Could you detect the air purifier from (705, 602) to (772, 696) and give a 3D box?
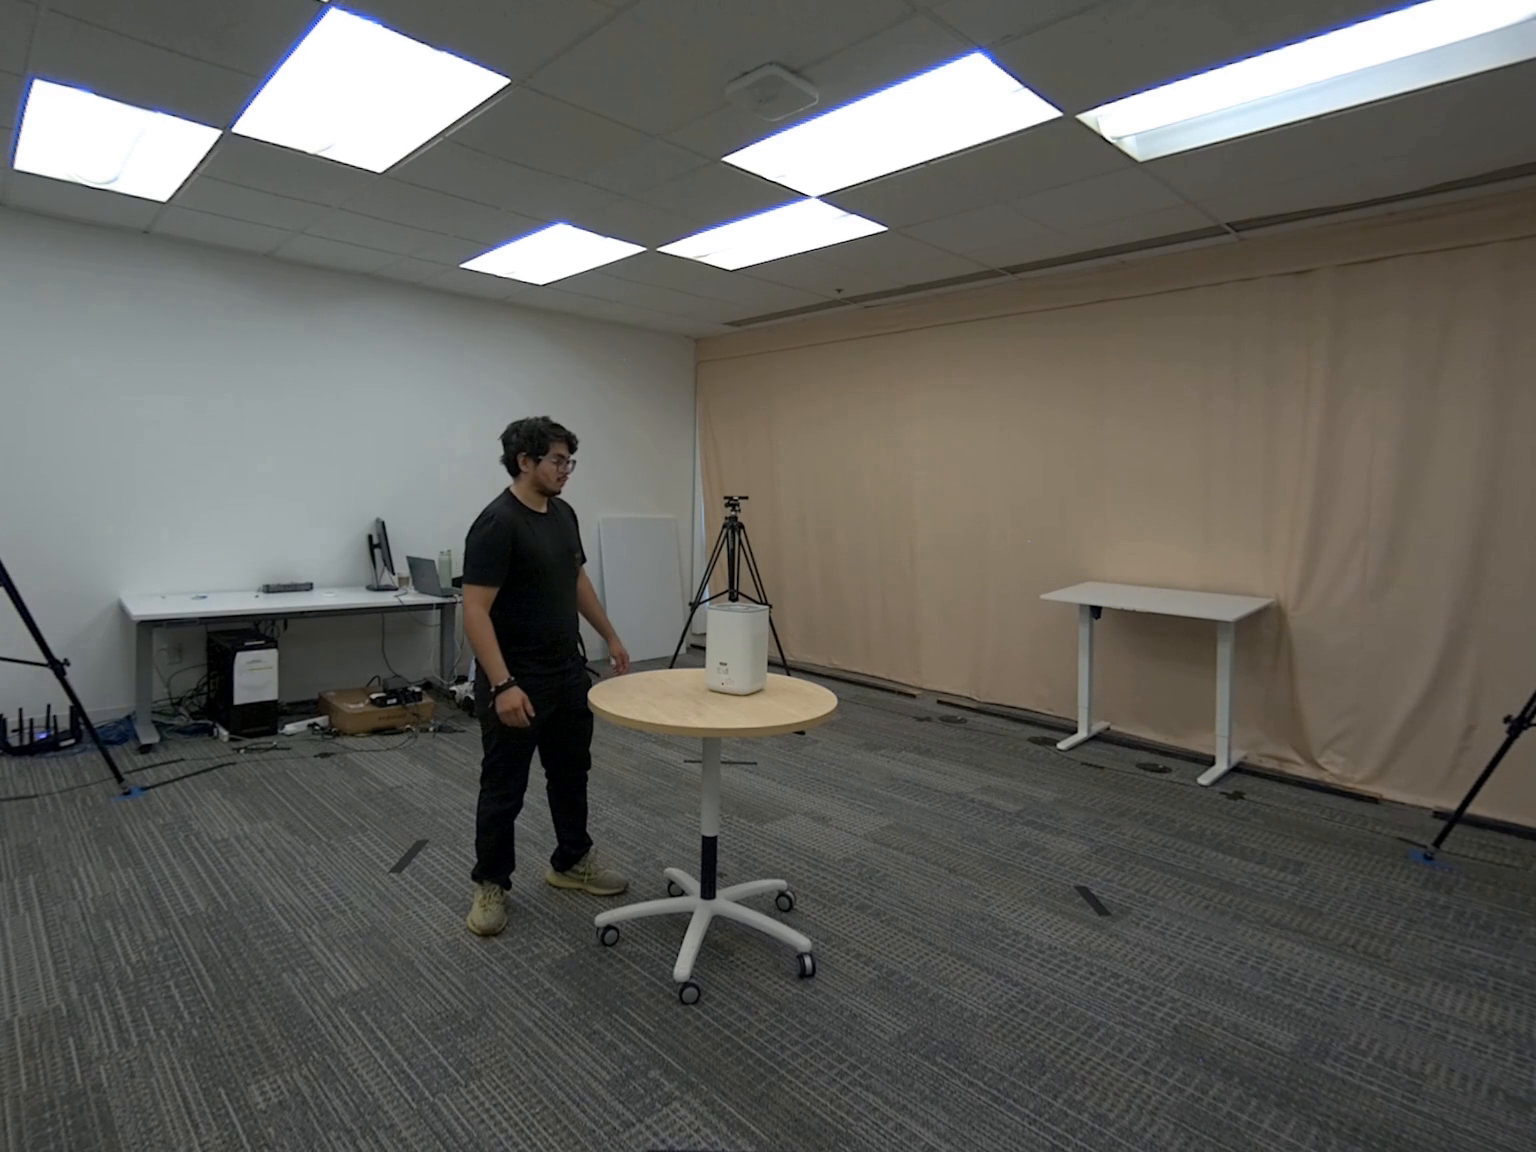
[{"bbox_3d":[-0.100,0.227,2.649,0.174,0.265,0.168,3,2,24],"label":"air purifier"}]
